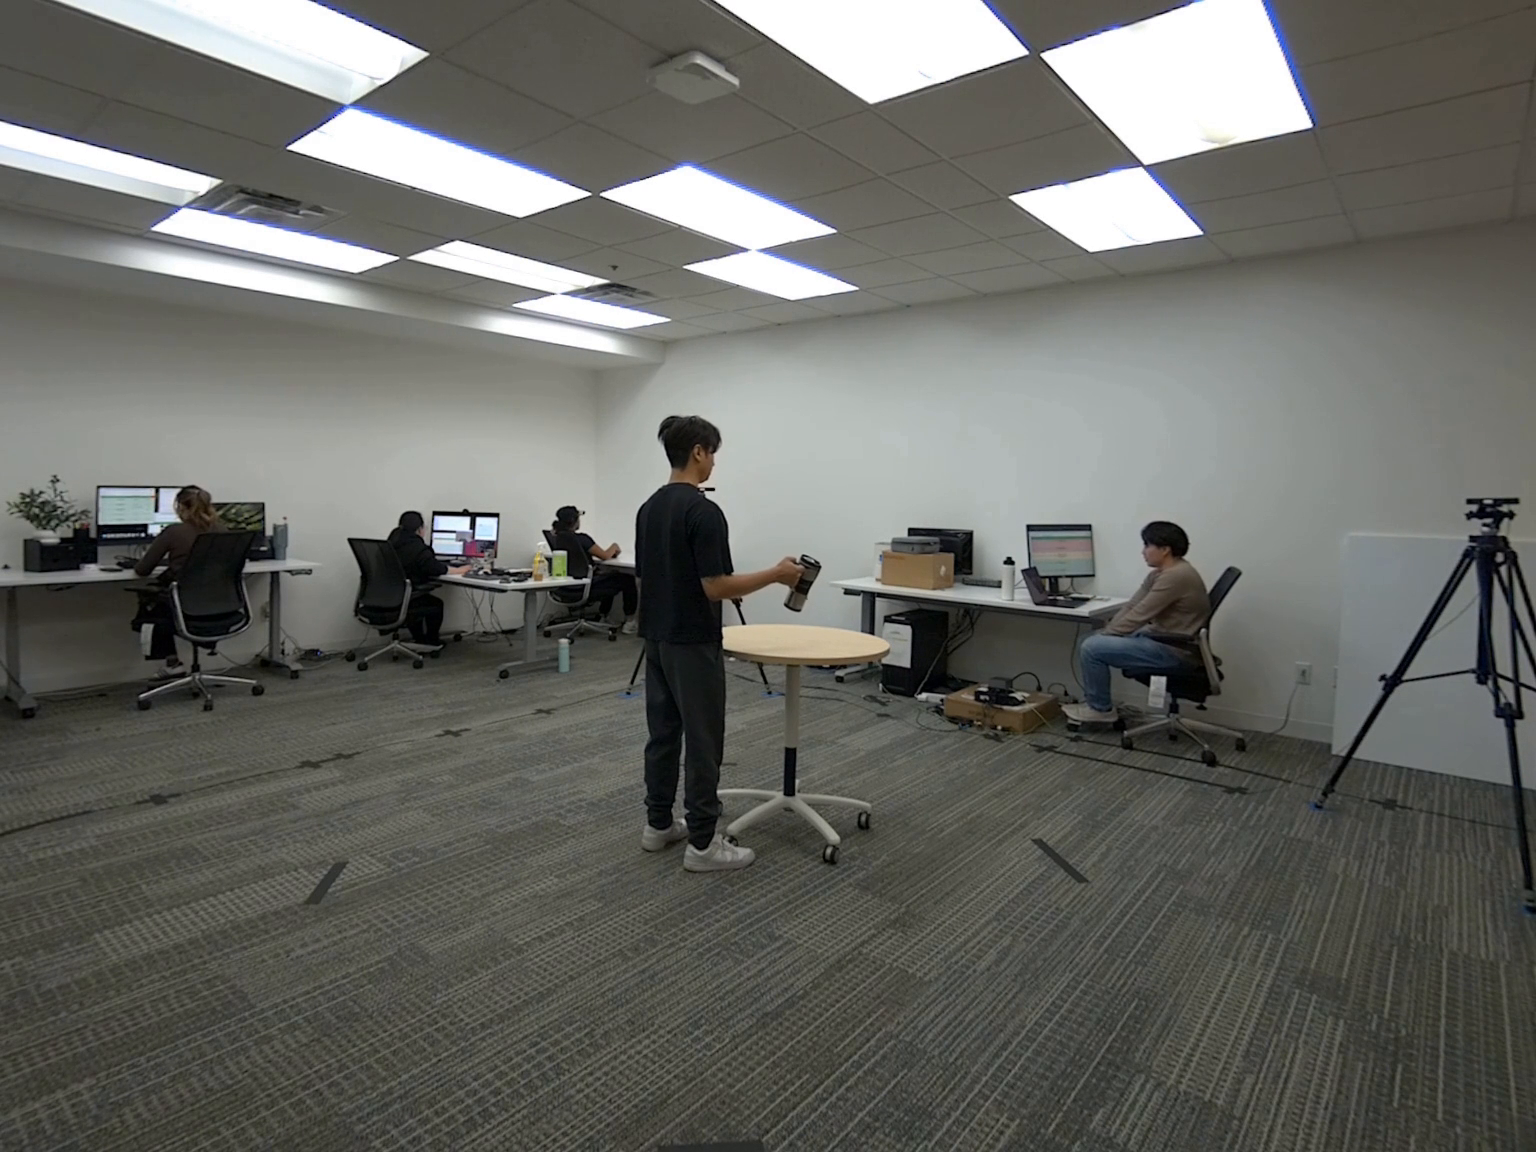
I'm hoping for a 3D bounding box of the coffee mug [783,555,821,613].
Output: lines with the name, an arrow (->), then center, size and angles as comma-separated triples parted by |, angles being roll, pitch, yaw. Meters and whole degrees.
coffee mug -> 0.096, 0.025, 3.174 | 0.118, 0.202, 0.091 | 18, 14, -26
